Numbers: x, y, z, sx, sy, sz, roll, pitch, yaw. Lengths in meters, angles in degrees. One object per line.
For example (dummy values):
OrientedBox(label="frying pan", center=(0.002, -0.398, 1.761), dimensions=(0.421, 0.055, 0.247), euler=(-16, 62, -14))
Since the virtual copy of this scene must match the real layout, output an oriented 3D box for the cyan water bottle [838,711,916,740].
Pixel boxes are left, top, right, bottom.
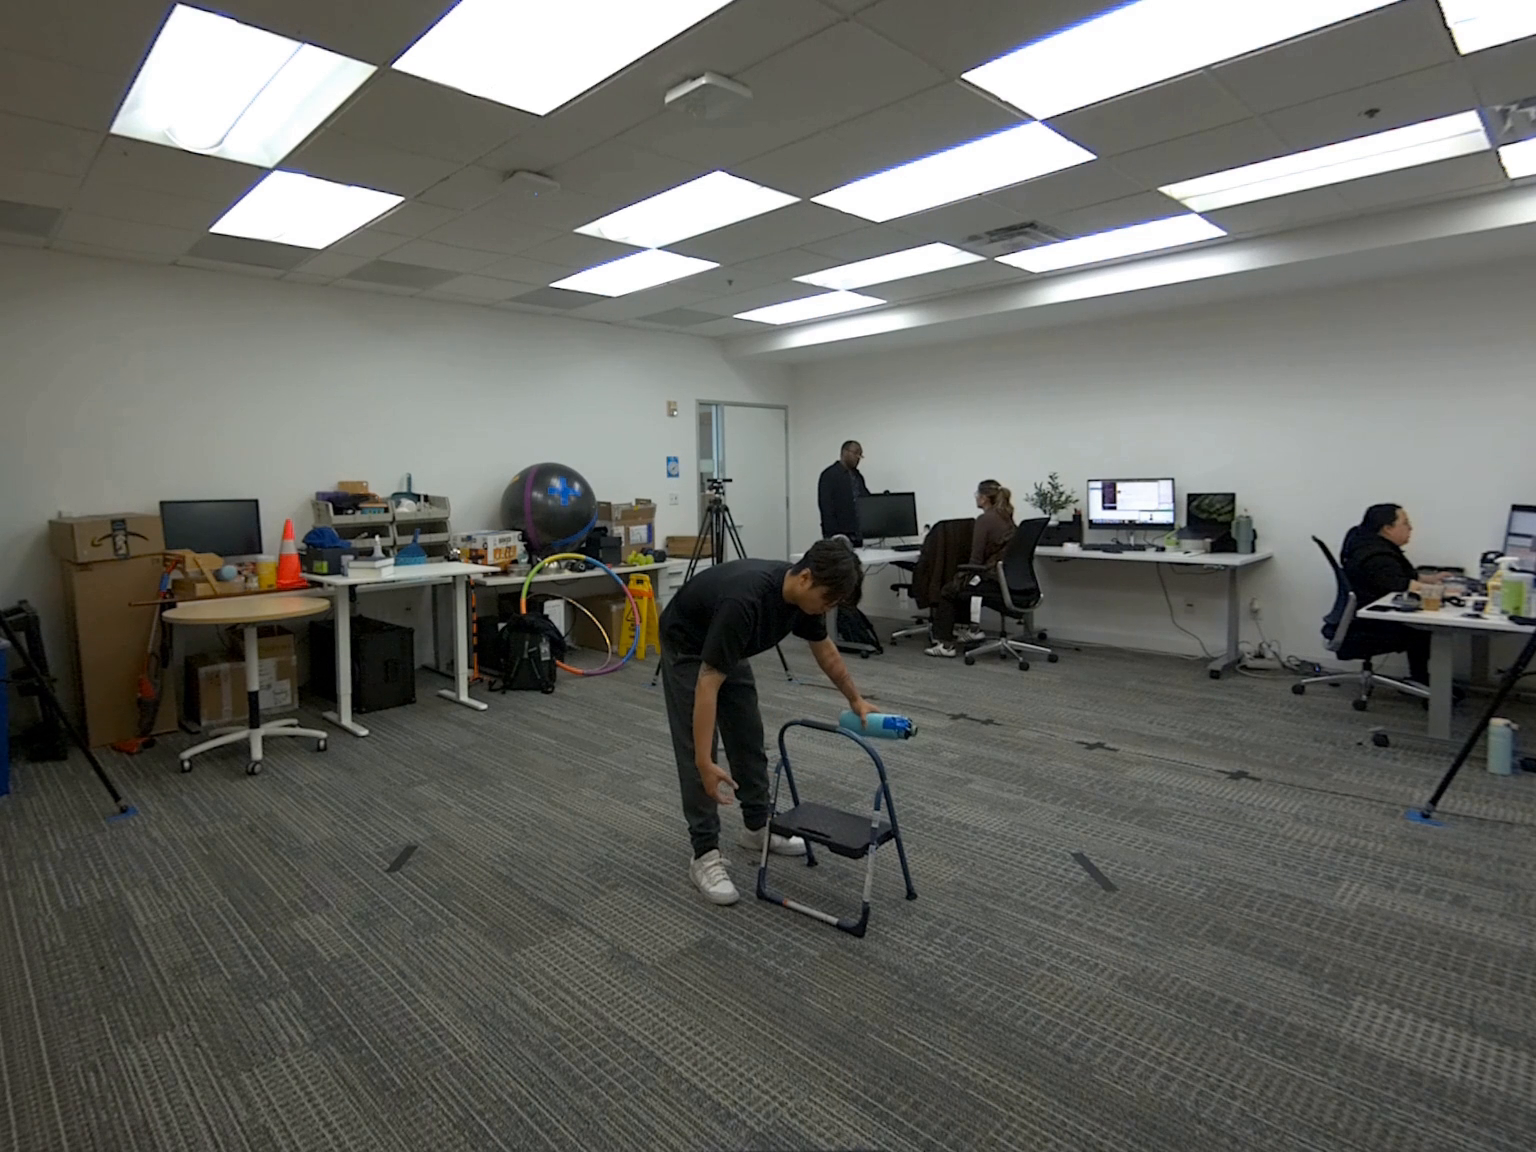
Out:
OrientedBox(label="cyan water bottle", center=(0.398, 0.557, 3.144), dimensions=(0.290, 0.092, 0.090), euler=(-2, 4, 30))
